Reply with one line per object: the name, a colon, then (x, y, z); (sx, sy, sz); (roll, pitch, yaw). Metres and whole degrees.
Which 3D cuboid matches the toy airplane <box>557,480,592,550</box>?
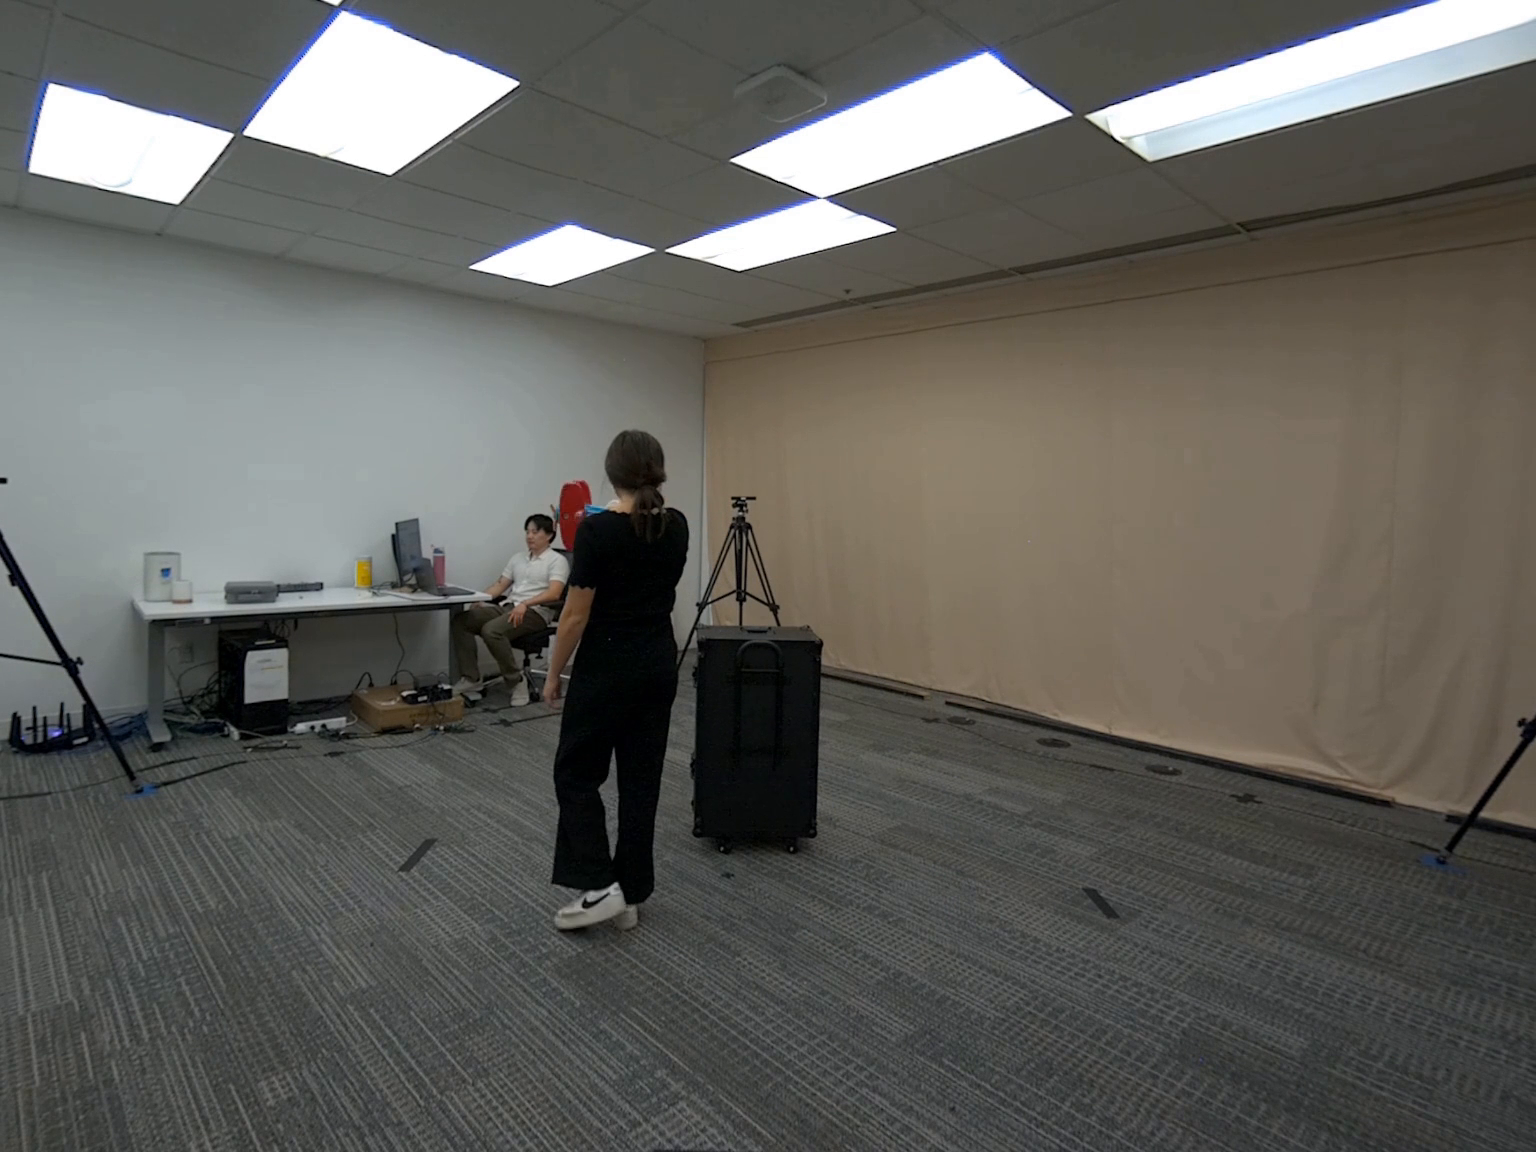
toy airplane: (-0.686, -0.251, 3.182); (0.262, 0.251, 0.155); (-25, 0, 28)
